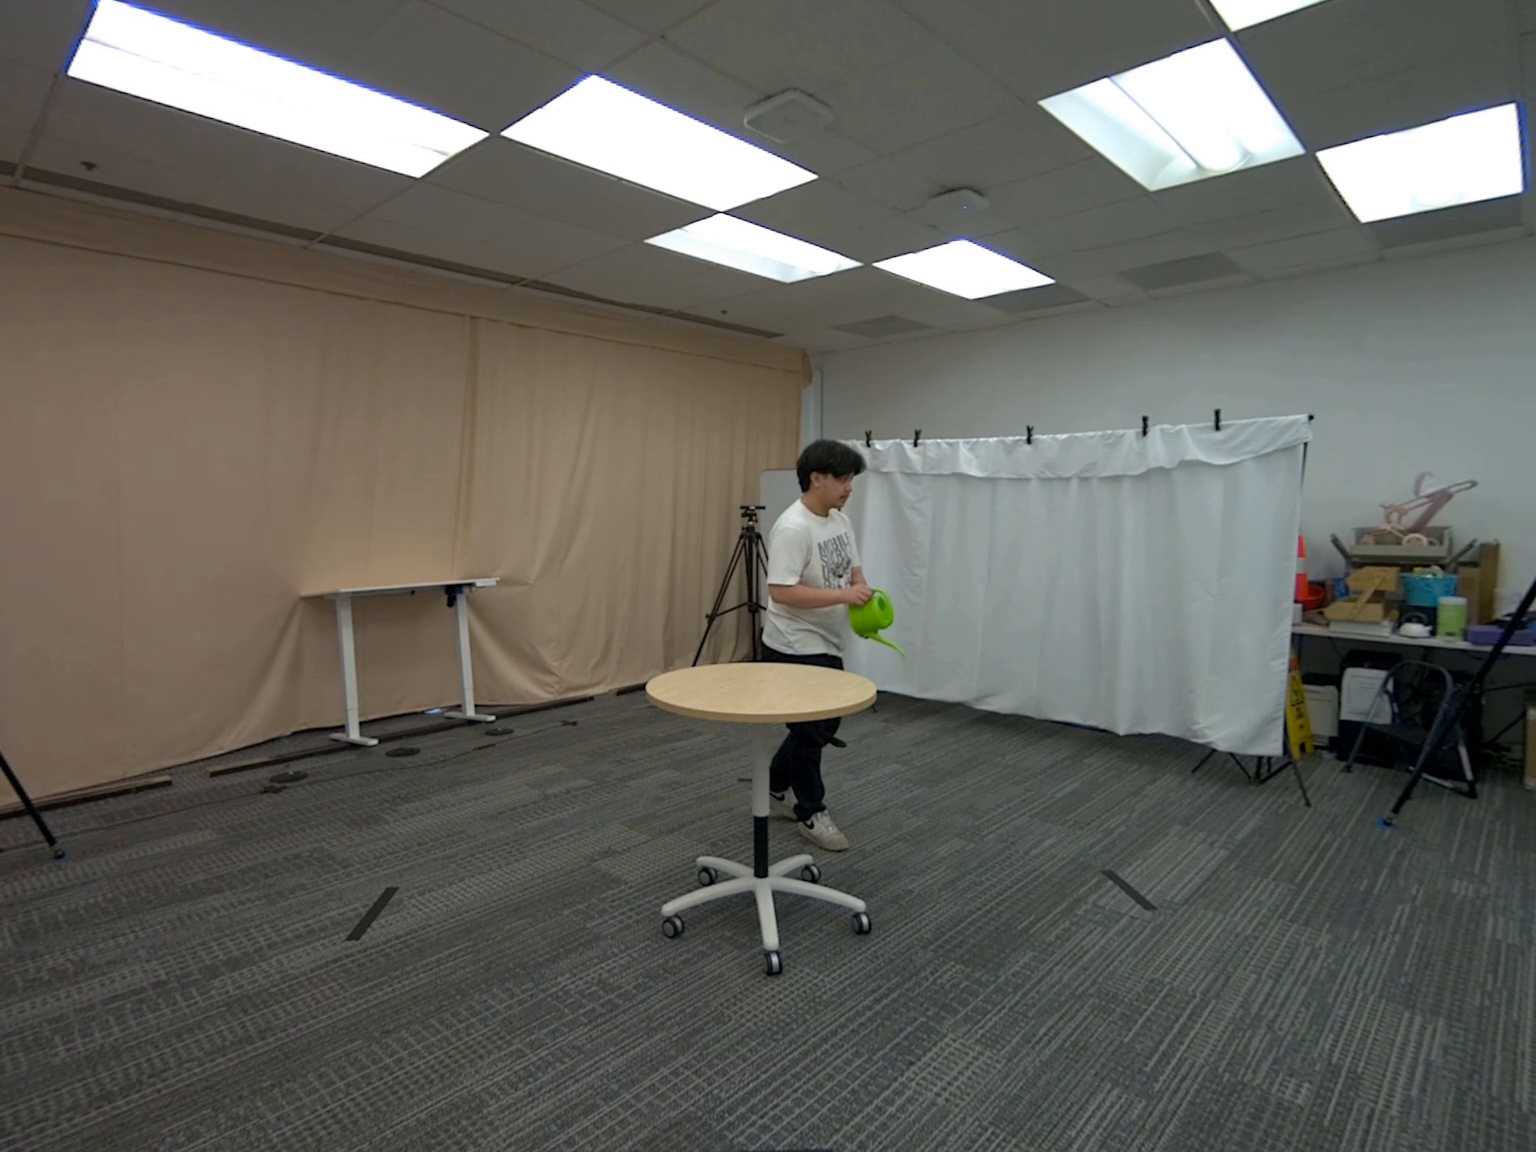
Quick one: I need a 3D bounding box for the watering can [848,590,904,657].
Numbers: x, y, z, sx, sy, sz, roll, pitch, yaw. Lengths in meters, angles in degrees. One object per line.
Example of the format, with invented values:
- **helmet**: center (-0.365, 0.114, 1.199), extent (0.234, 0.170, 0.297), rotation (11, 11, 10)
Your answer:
- **watering can**: center (0.412, 0.189, 3.238), extent (0.181, 0.281, 0.095), rotation (-21, -20, 40)
